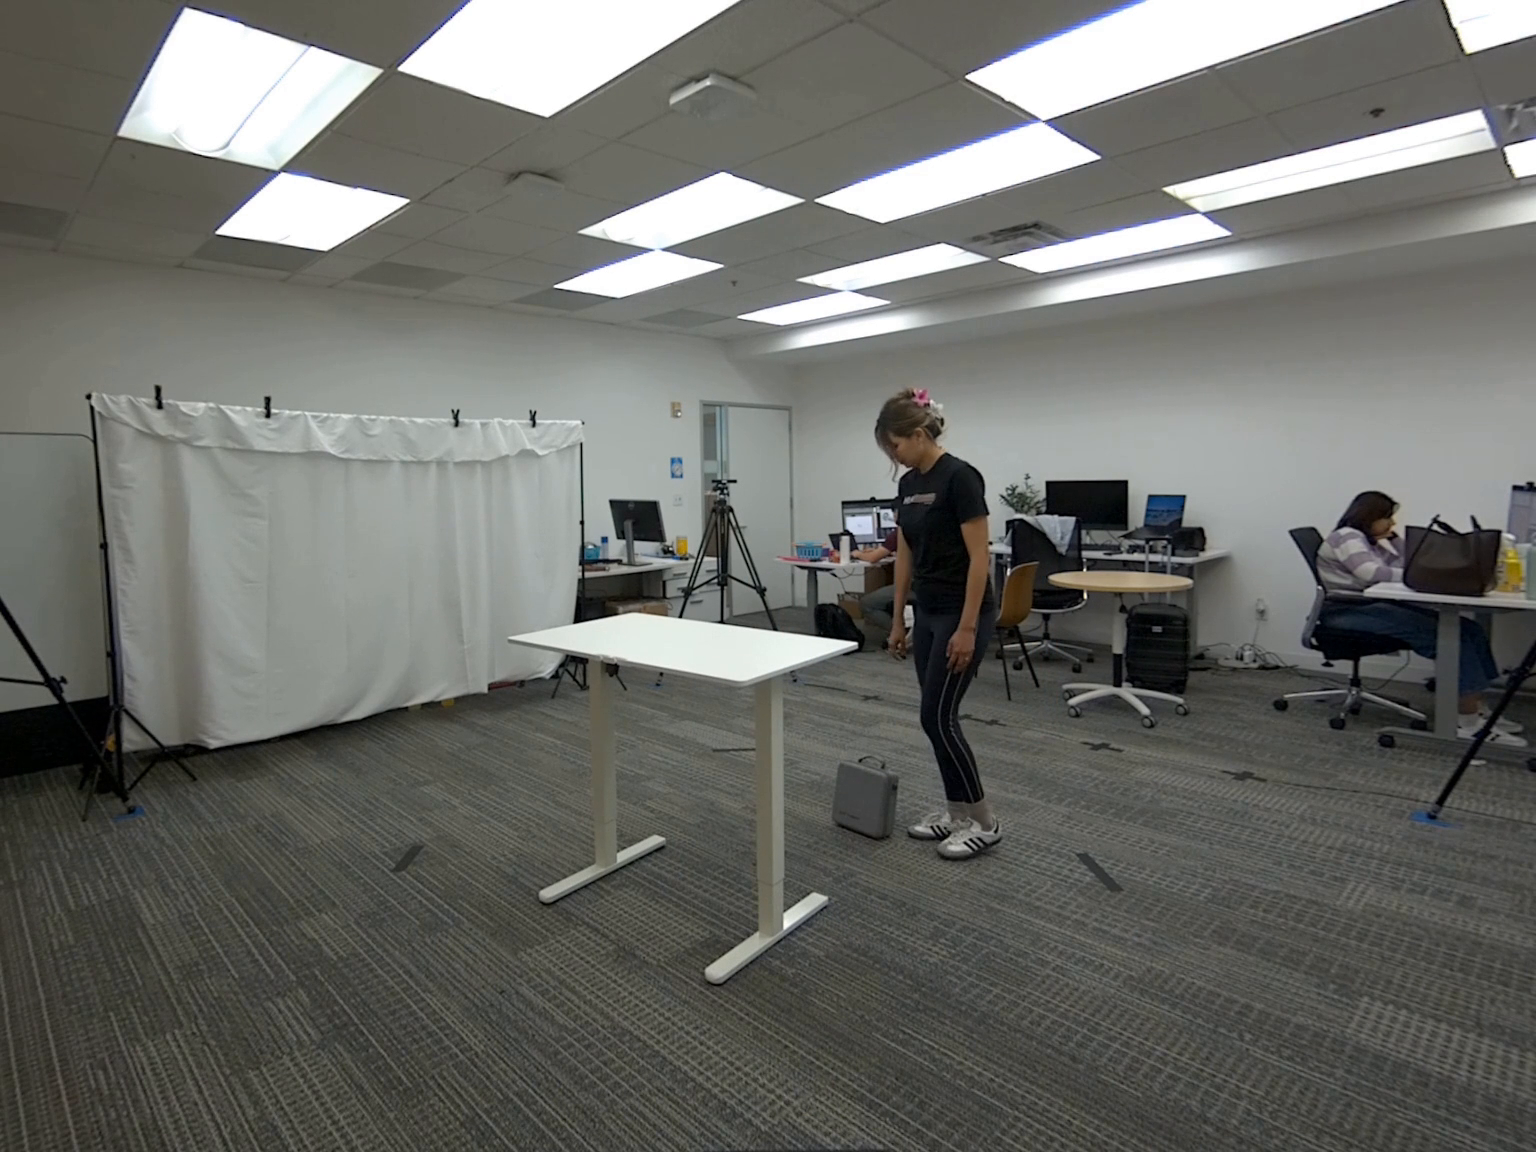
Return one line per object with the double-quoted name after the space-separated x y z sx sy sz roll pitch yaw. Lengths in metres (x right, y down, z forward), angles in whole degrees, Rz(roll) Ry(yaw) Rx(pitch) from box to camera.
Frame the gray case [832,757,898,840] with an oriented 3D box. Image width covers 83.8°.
0.386 0.878 3.399 0.101 0.261 0.265 8 -2 -41 "gray case"
